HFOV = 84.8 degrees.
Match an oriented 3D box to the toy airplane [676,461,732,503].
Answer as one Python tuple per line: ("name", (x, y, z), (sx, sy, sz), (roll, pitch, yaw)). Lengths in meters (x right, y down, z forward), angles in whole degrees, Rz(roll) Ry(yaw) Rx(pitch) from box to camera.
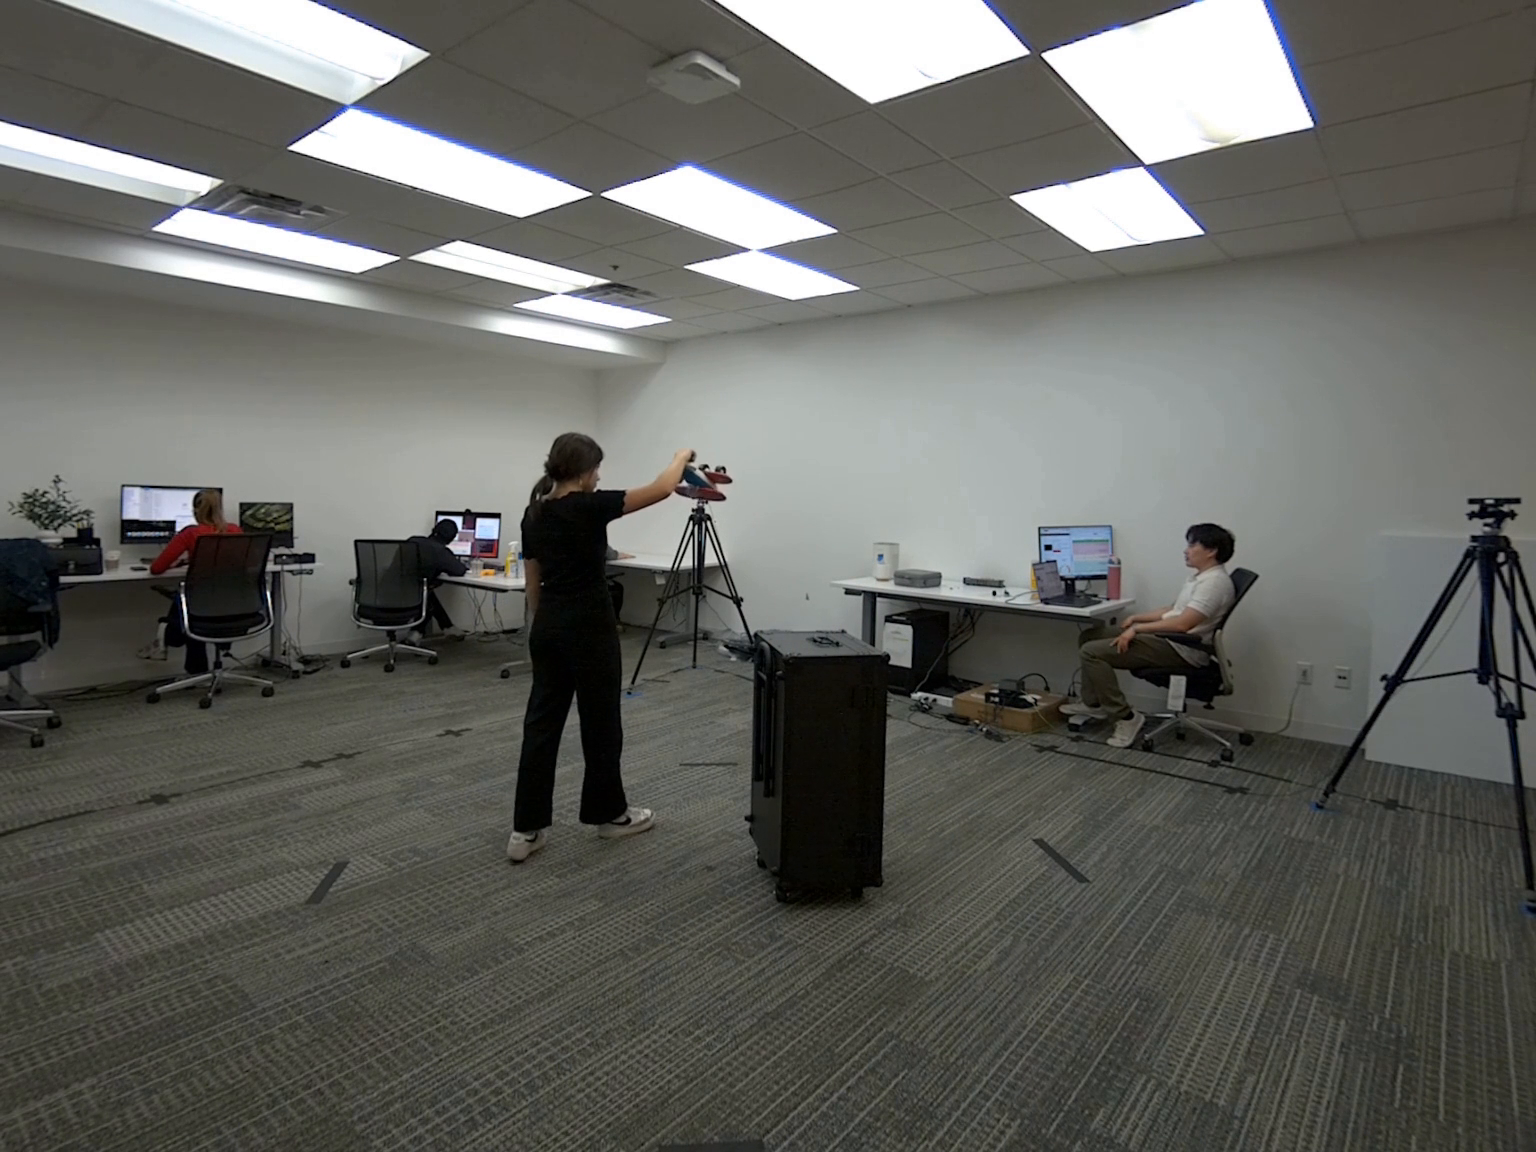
("toy airplane", (-0.312, -0.415, 3.484), (0.251, 0.157, 0.258), (13, -4, -30))
